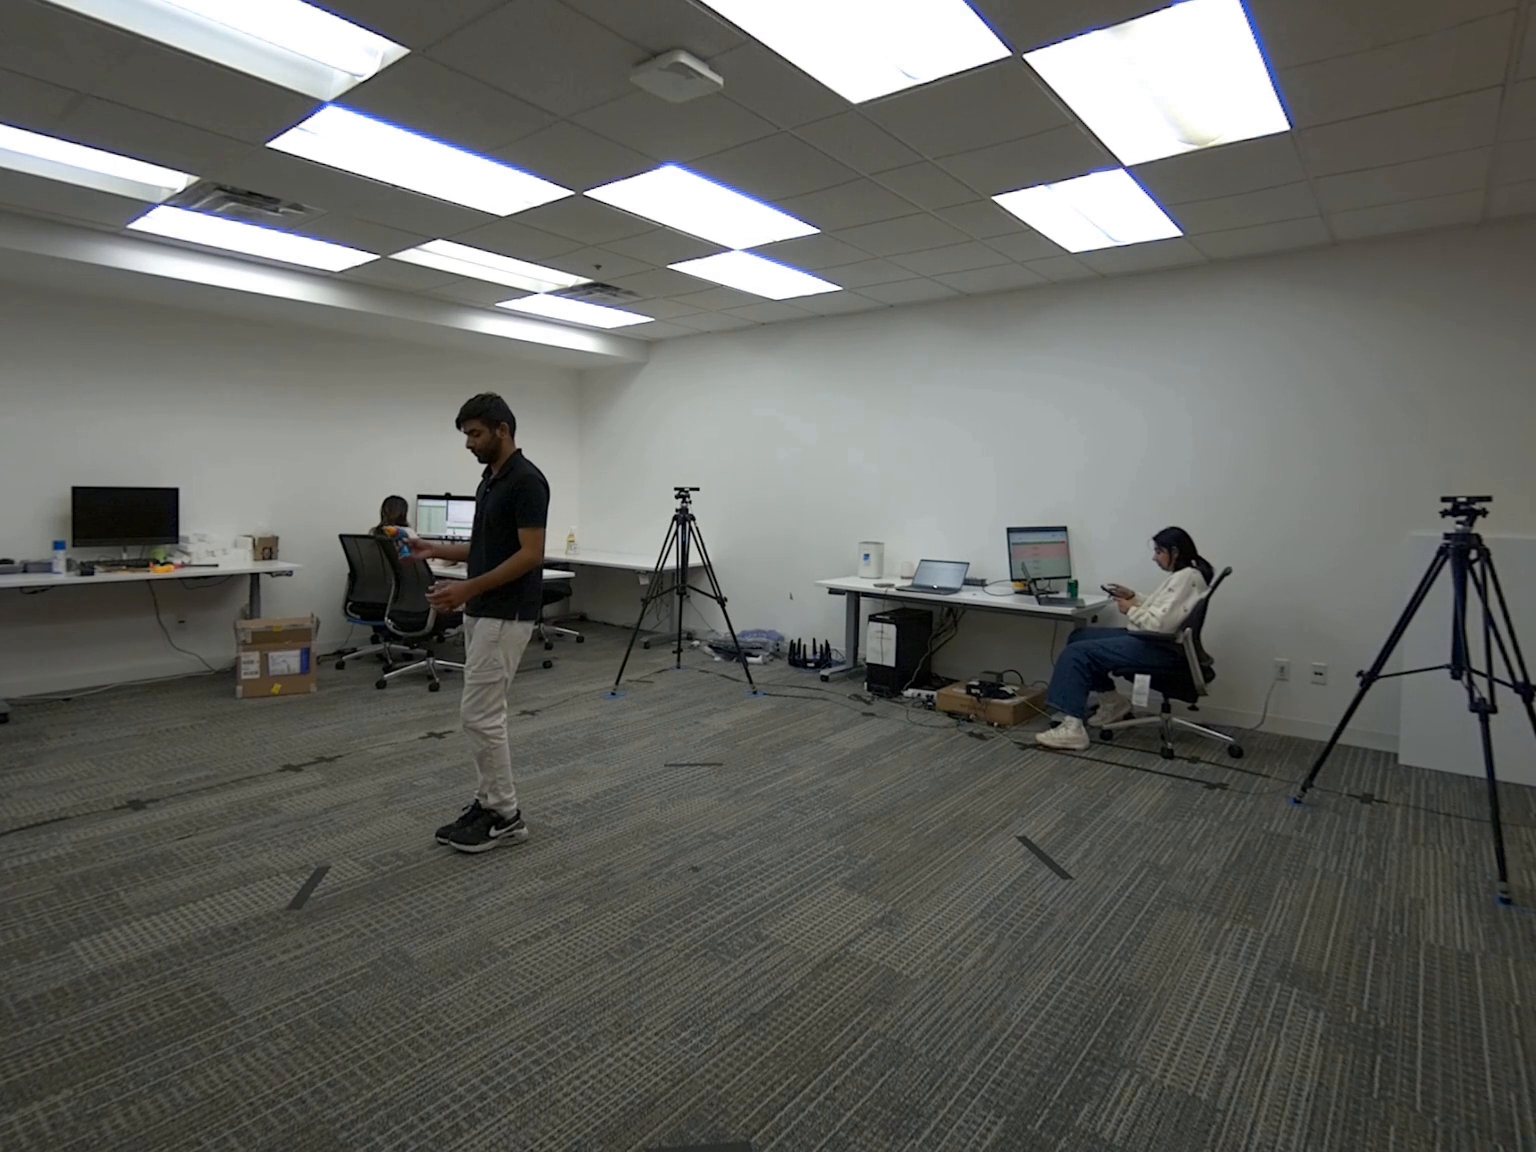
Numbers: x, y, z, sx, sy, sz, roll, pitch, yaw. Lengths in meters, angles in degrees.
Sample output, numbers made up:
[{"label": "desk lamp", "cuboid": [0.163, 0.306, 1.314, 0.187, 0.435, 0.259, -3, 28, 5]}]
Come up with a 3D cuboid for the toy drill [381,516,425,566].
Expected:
[{"label": "toy drill", "cuboid": [-1.429, -0.138, 3.301, 0.061, 0.149, 0.167, -27, -12, -4]}]
